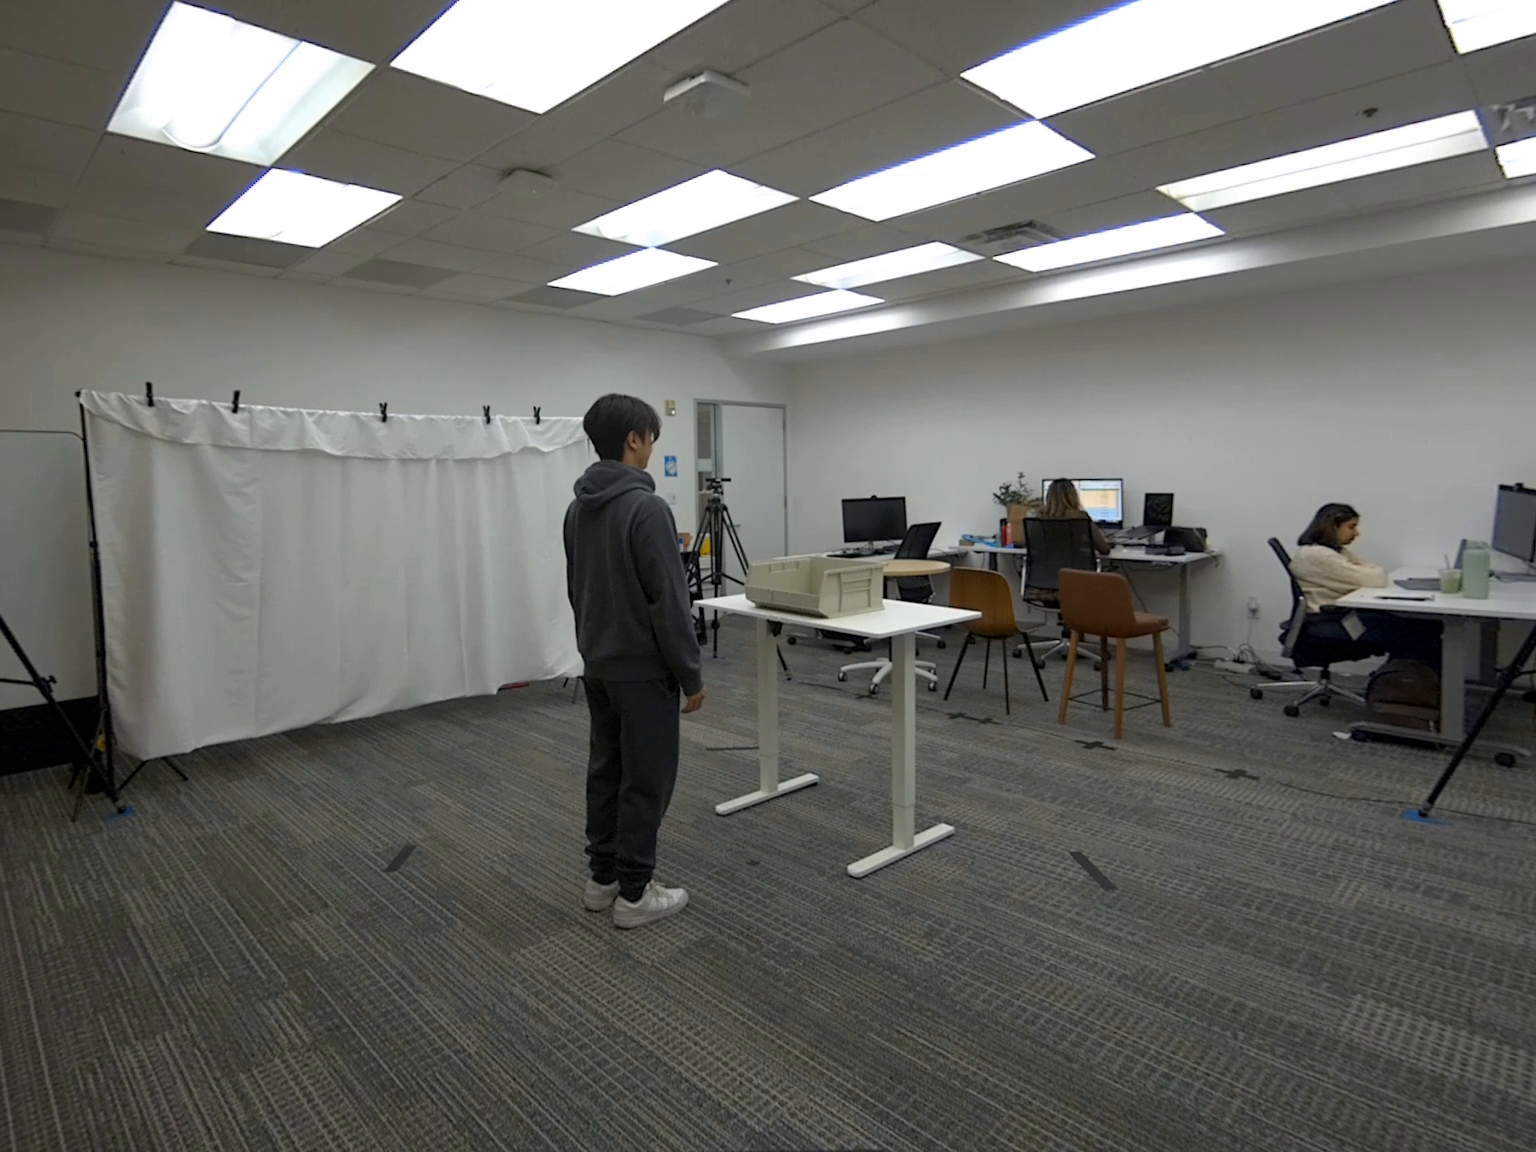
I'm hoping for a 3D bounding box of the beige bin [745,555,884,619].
[{"bbox_3d":[0.189,0.040,3.343,0.367,0.188,0.435,-6,8,-40],"label":"beige bin"}]
